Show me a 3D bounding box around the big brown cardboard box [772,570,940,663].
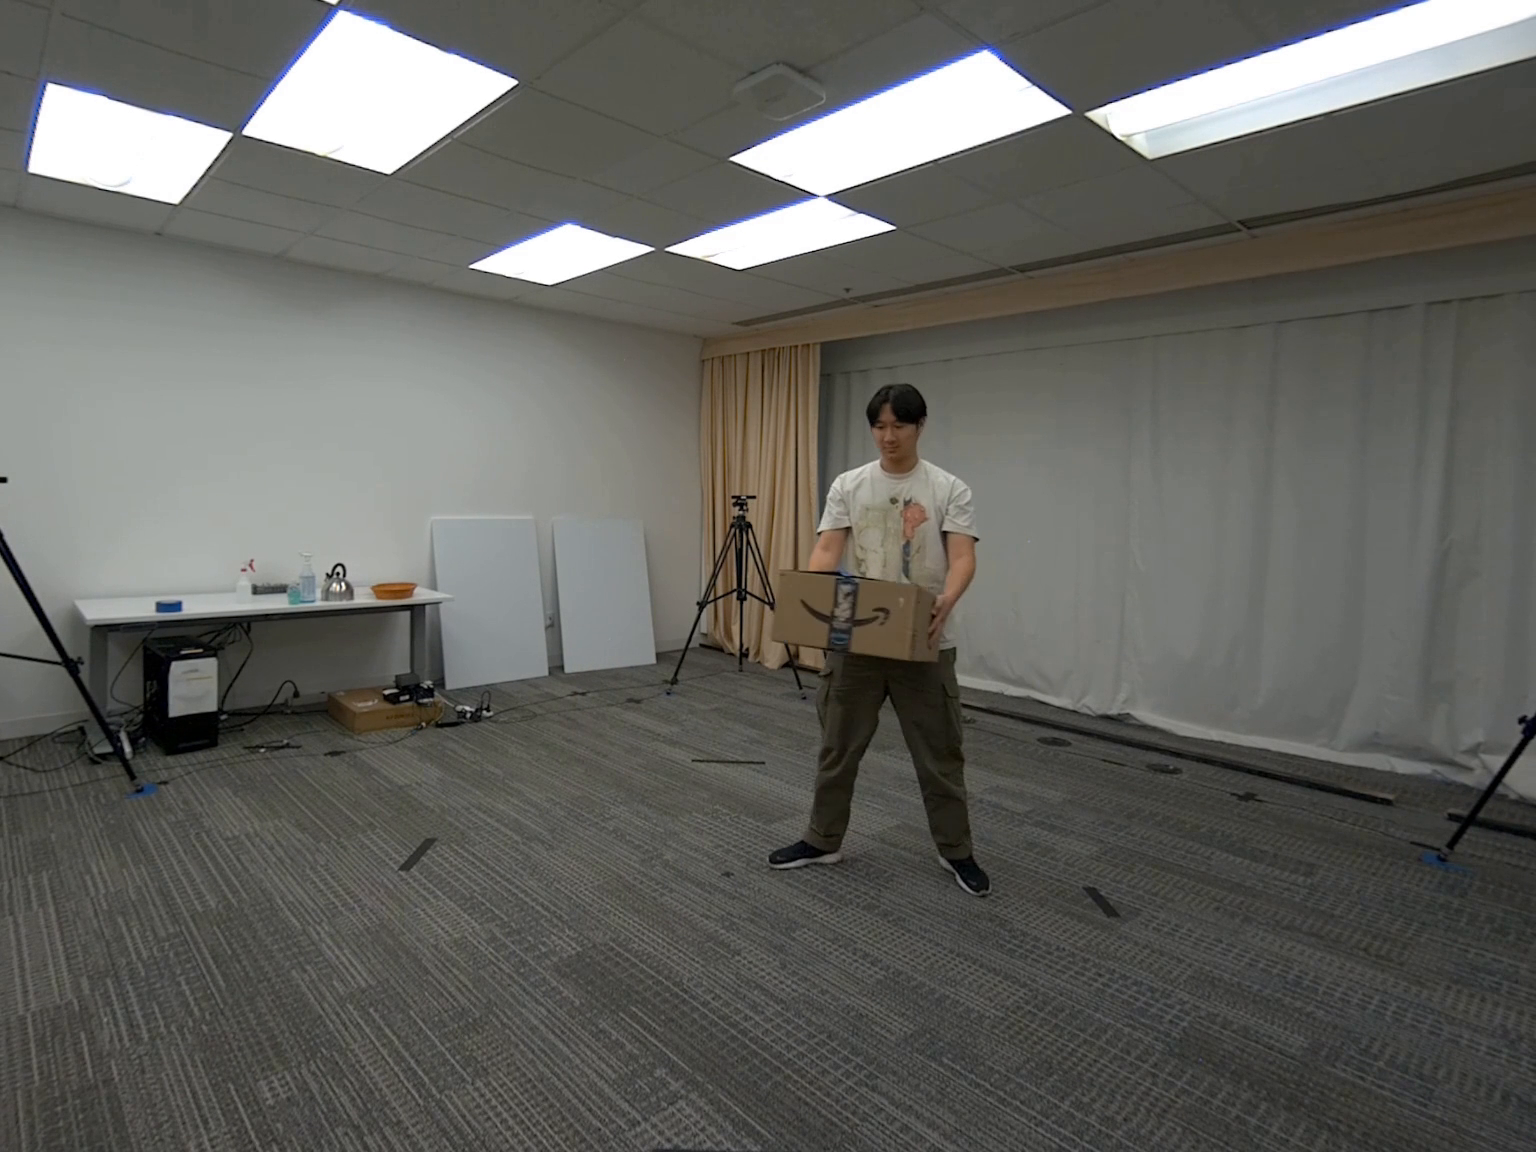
[{"bbox_3d":[0.299,0.134,2.674,0.425,0.234,0.577,6,-5,20],"label":"big brown cardboard box"}]
